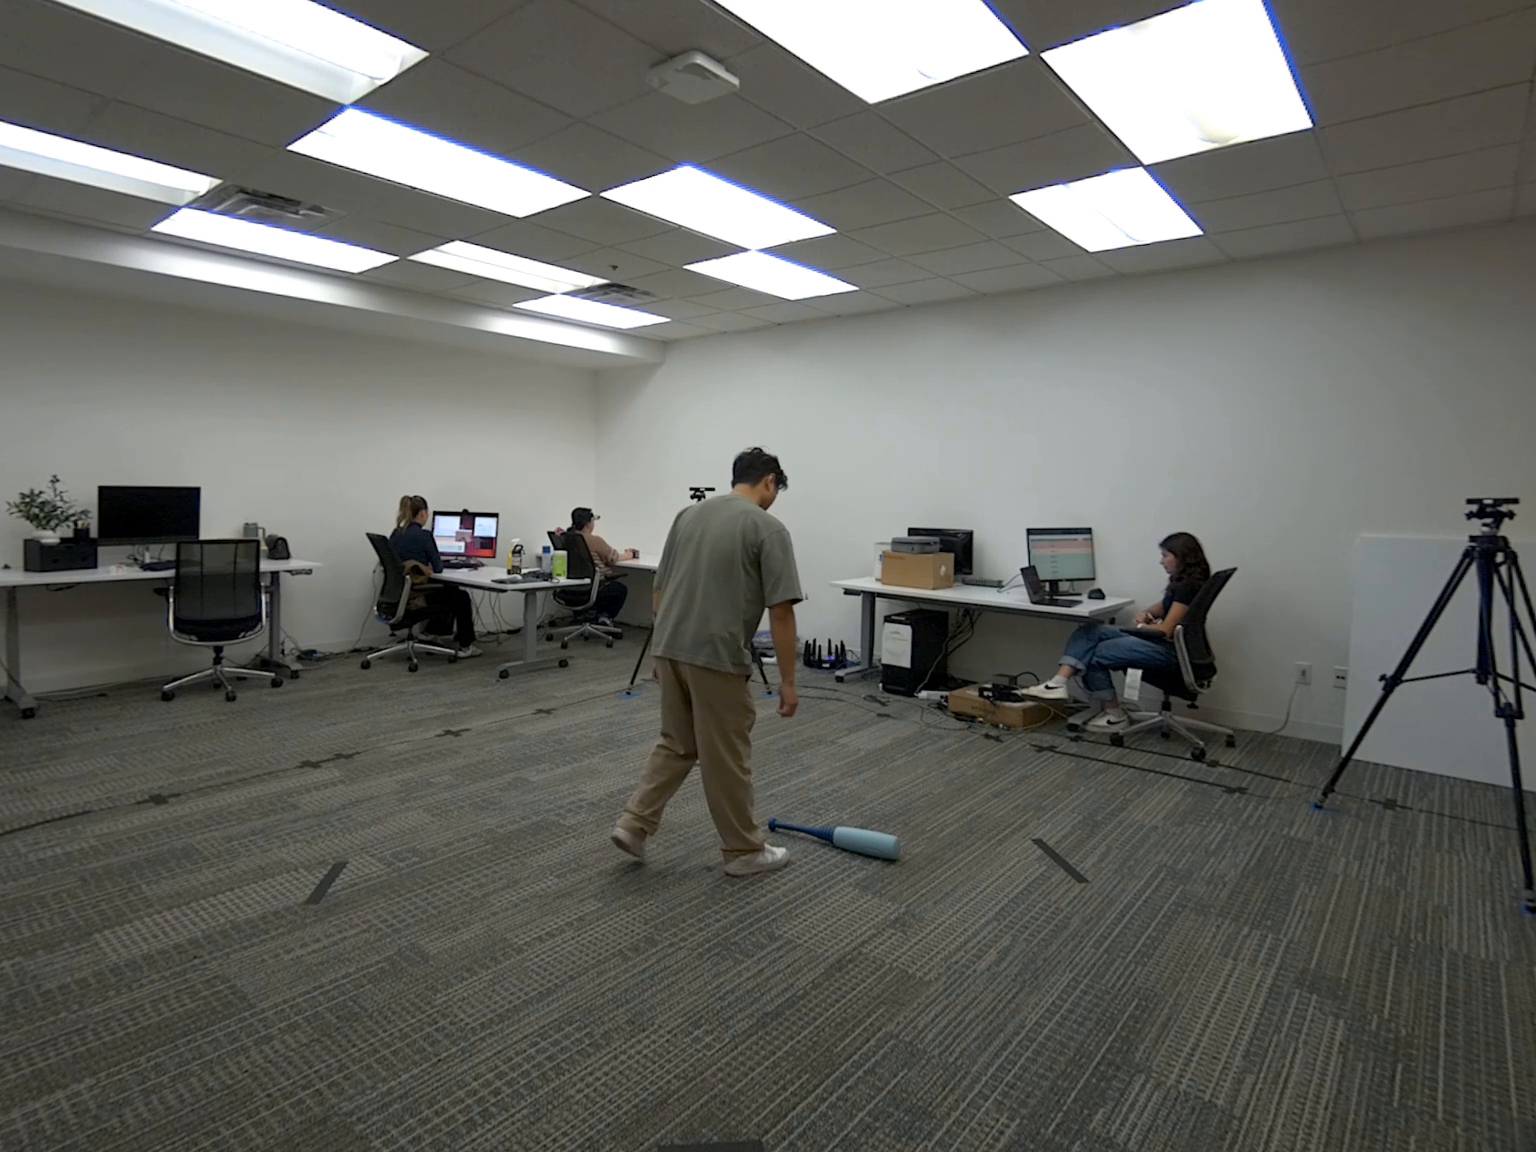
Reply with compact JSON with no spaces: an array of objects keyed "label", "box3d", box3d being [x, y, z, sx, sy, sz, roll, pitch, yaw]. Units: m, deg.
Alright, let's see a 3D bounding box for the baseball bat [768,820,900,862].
[{"label":"baseball bat","box3d":[0.245,1.015,3.338,0.558,0.089,0.087,2,4,30]}]
